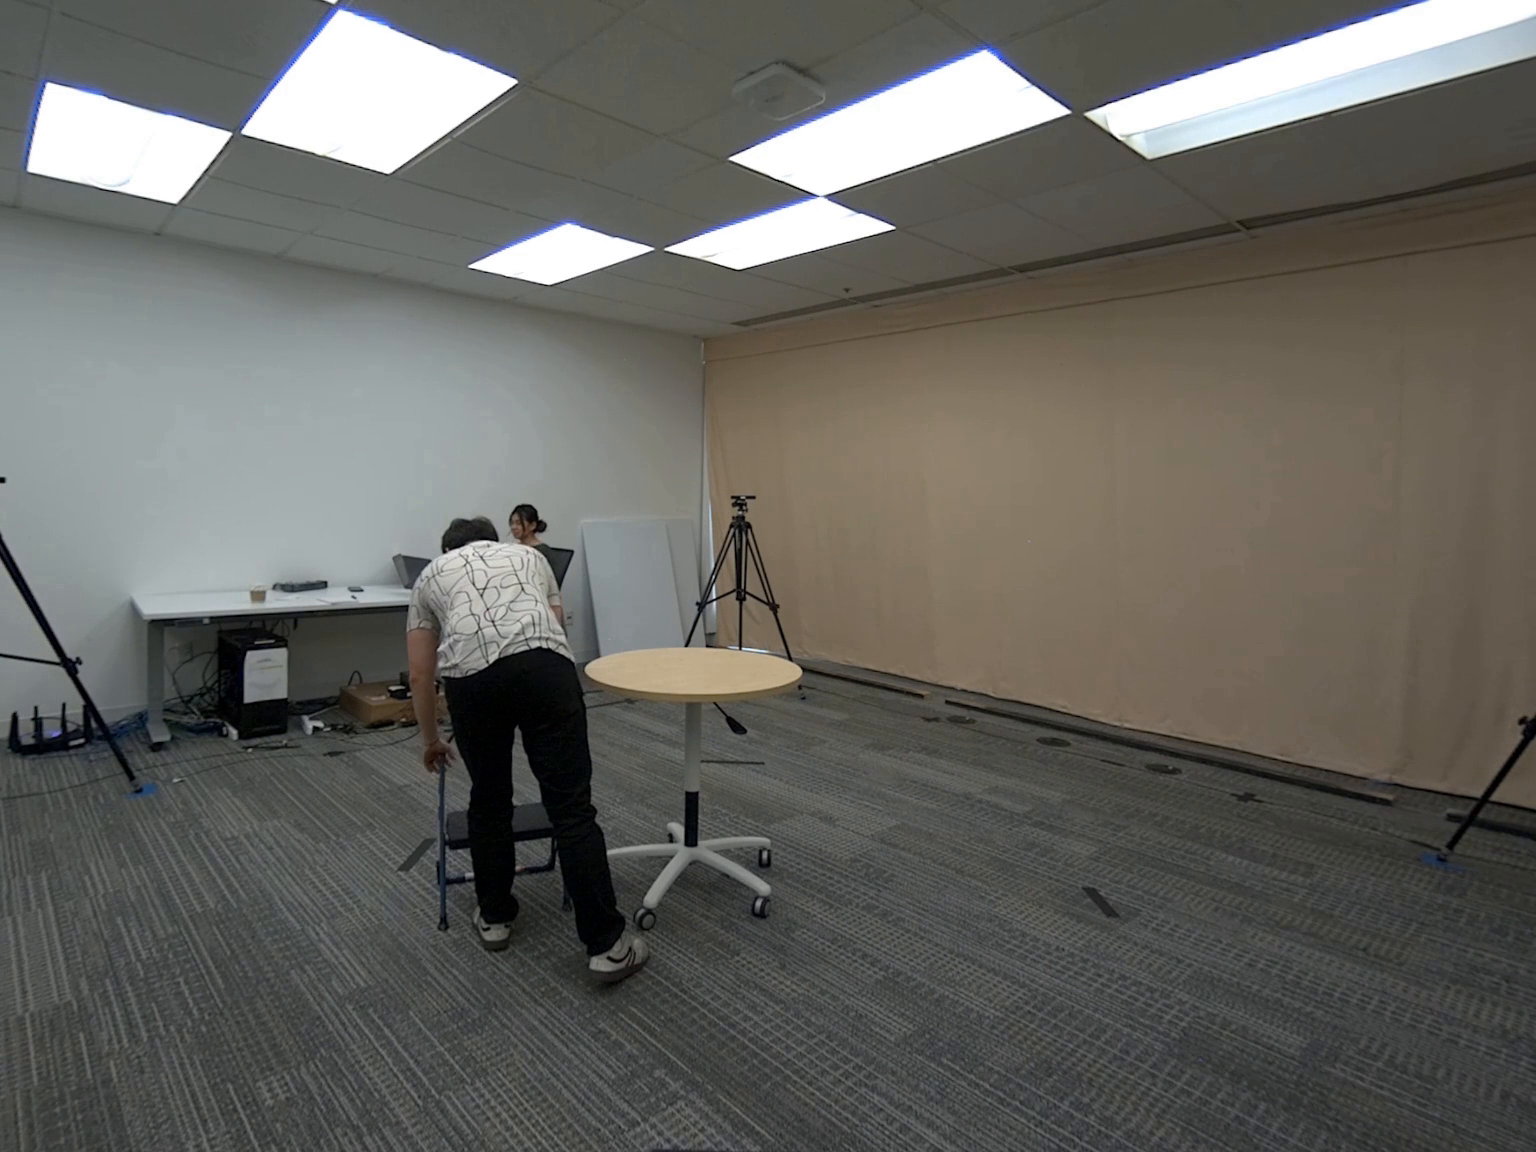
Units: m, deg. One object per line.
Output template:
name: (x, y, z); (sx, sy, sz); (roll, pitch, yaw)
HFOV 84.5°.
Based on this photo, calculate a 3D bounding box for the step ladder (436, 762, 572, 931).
step ladder: (-0.916, 0.808, 2.880); (0.423, 0.604, 0.356); (-1, 4, -23)
